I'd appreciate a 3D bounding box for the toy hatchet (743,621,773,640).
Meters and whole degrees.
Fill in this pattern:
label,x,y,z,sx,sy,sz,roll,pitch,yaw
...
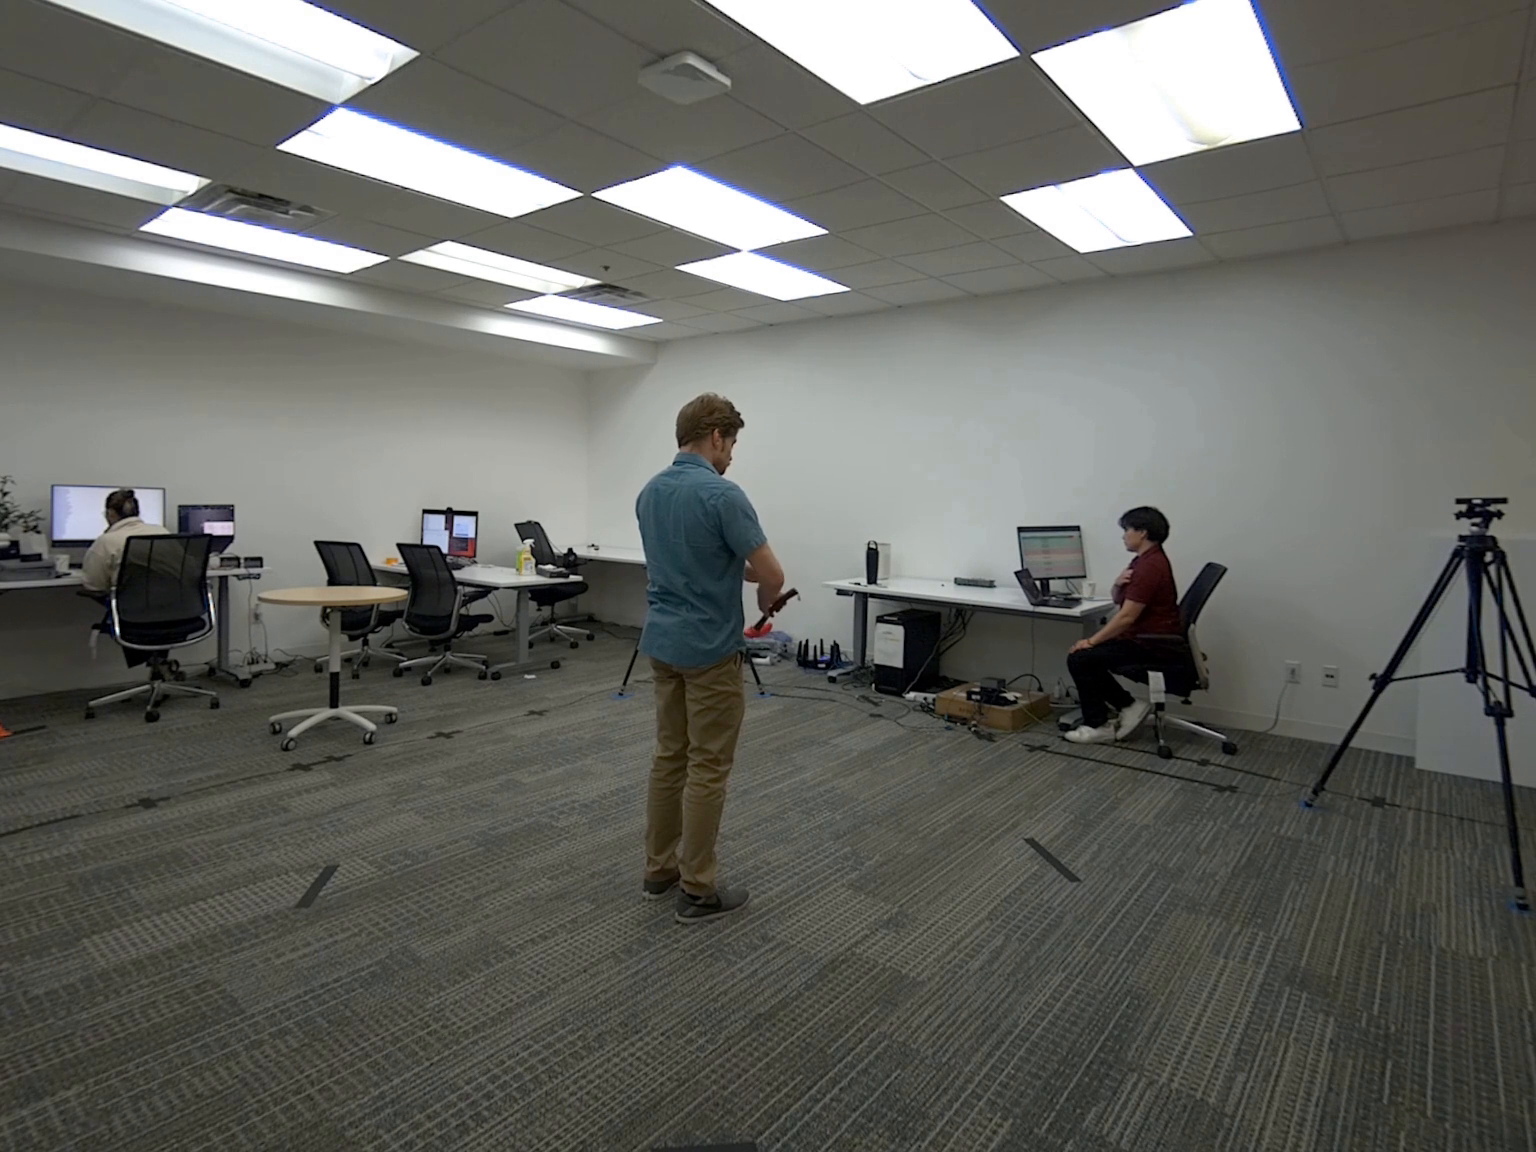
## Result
label,x,y,z,sx,sy,sz,roll,pitch,yaw
toy hatchet,-0.105,0.194,3.073,0.261,0.030,0.132,8,-27,-40
